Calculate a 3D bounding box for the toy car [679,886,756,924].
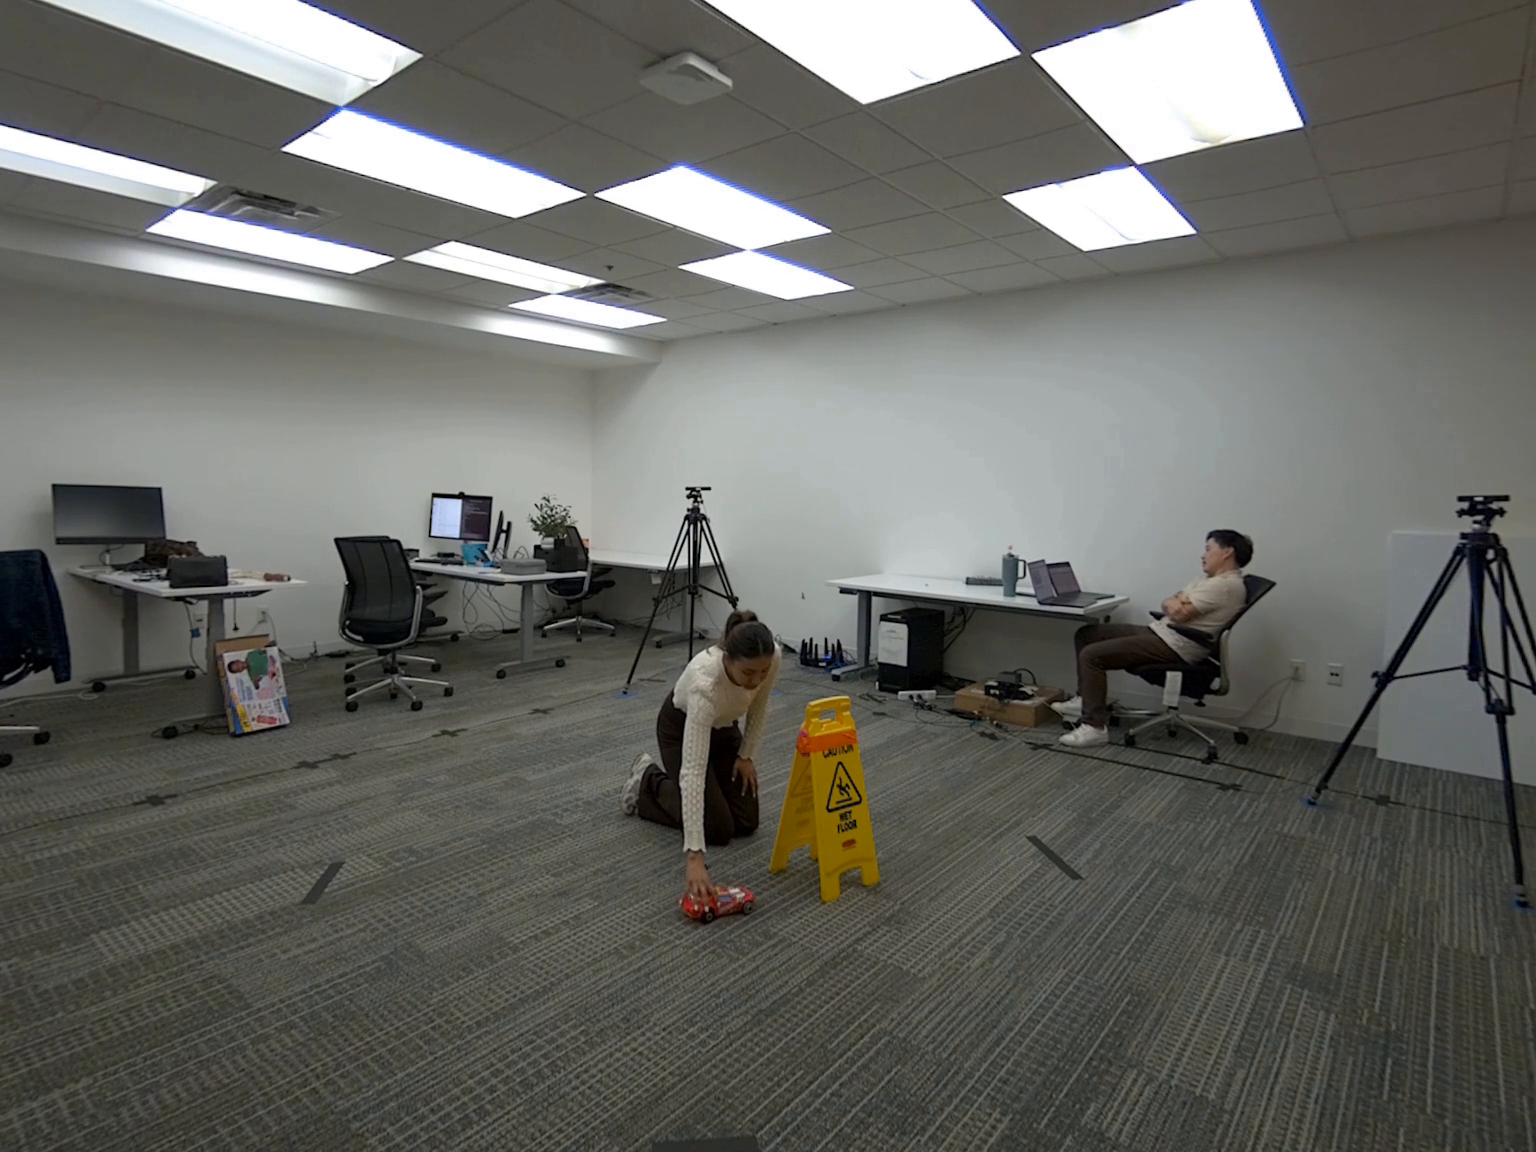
[{"bbox_3d":[-0.185,1.066,2.791,0.247,0.083,0.134,9,2,-28],"label":"toy car"}]
